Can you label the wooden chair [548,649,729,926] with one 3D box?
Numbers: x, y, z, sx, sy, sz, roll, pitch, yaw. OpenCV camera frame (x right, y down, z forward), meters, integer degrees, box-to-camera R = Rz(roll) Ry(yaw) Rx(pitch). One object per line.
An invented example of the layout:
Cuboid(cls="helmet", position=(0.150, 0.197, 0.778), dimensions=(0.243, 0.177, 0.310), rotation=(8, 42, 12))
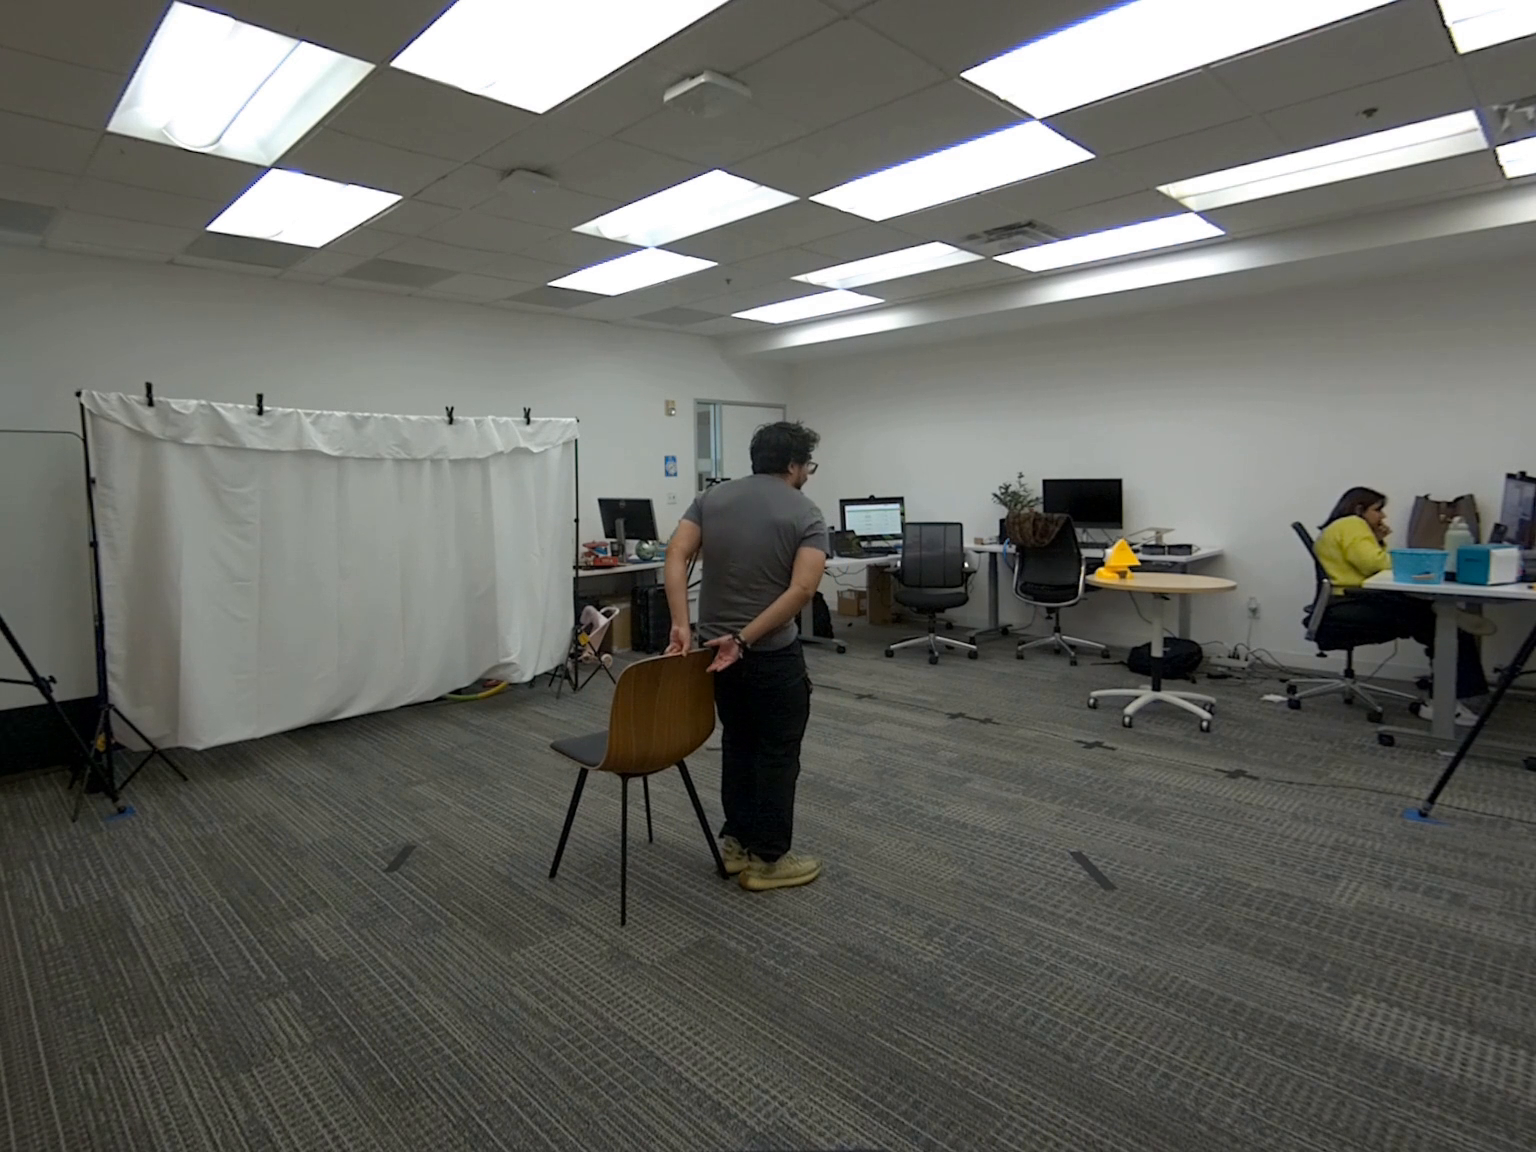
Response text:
Cuboid(cls="wooden chair", position=(-0.472, 0.640, 2.968), dimensions=(0.466, 0.871, 0.540), rotation=(-6, 11, -42))
